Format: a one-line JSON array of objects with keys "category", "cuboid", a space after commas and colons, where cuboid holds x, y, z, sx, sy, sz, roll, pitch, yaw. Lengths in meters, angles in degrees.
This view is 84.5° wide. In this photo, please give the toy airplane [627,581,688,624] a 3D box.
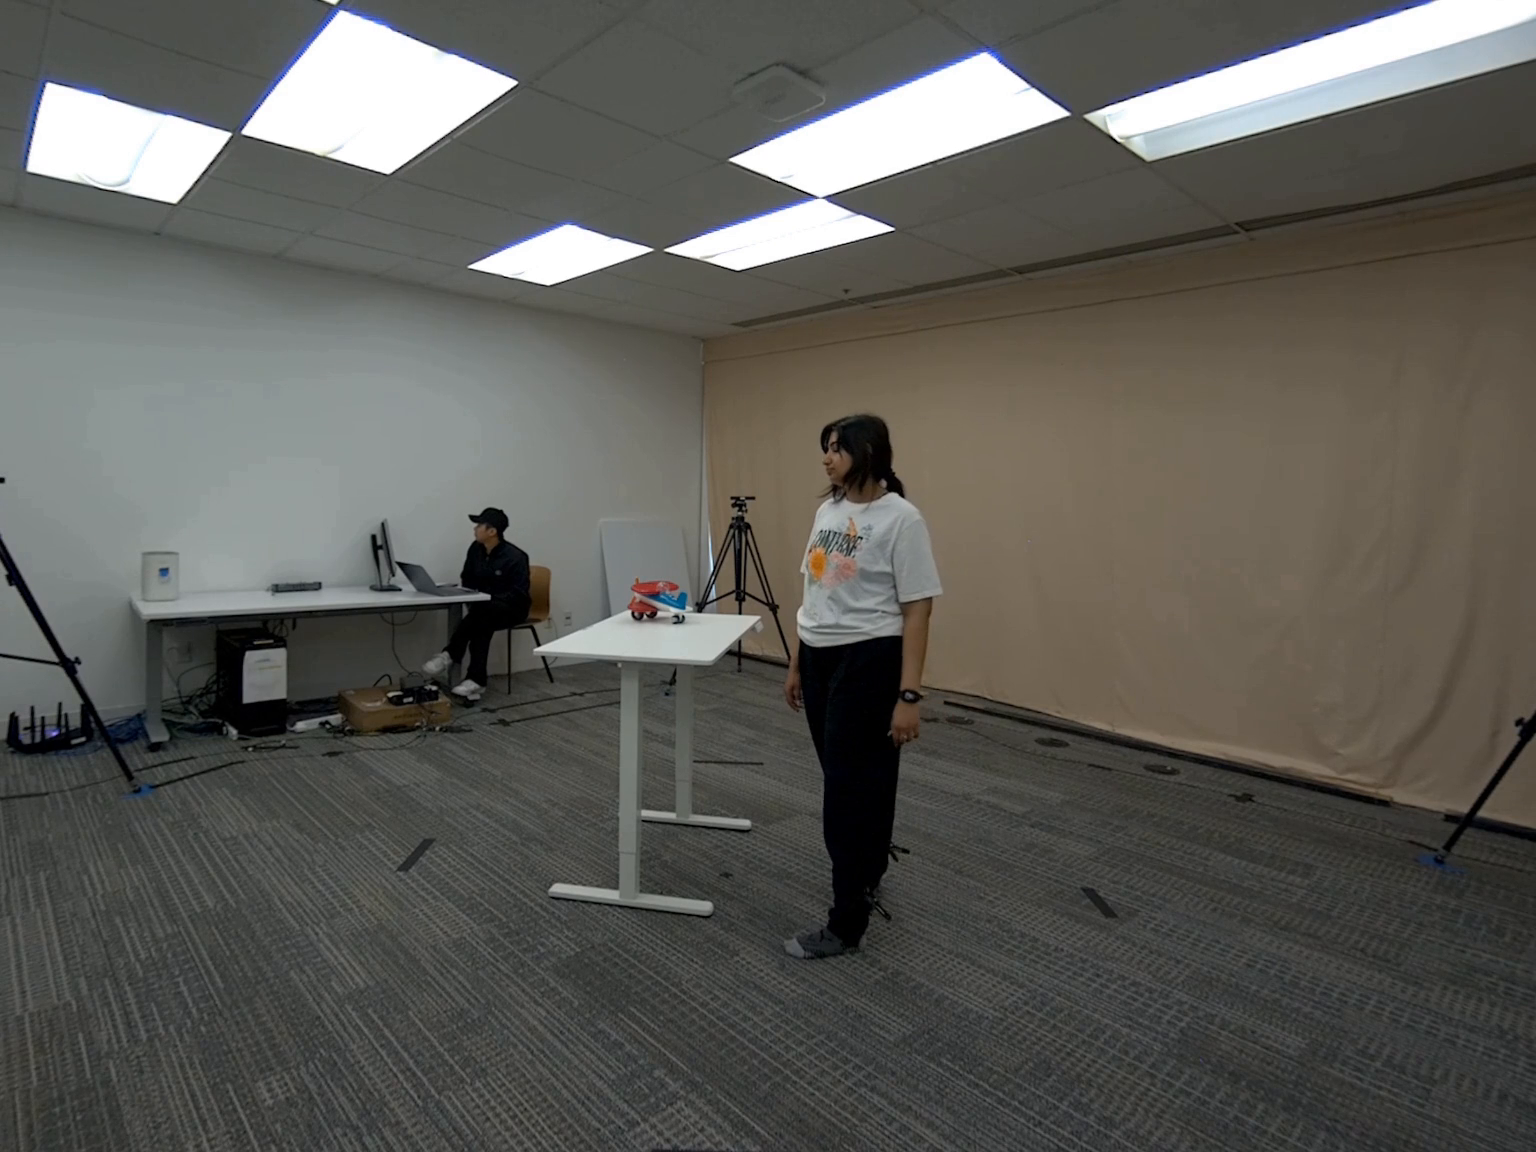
[{"category": "toy airplane", "cuboid": [-0.441, 0.104, 3.452, 0.260, 0.156, 0.251, -1, 5, 5]}]
